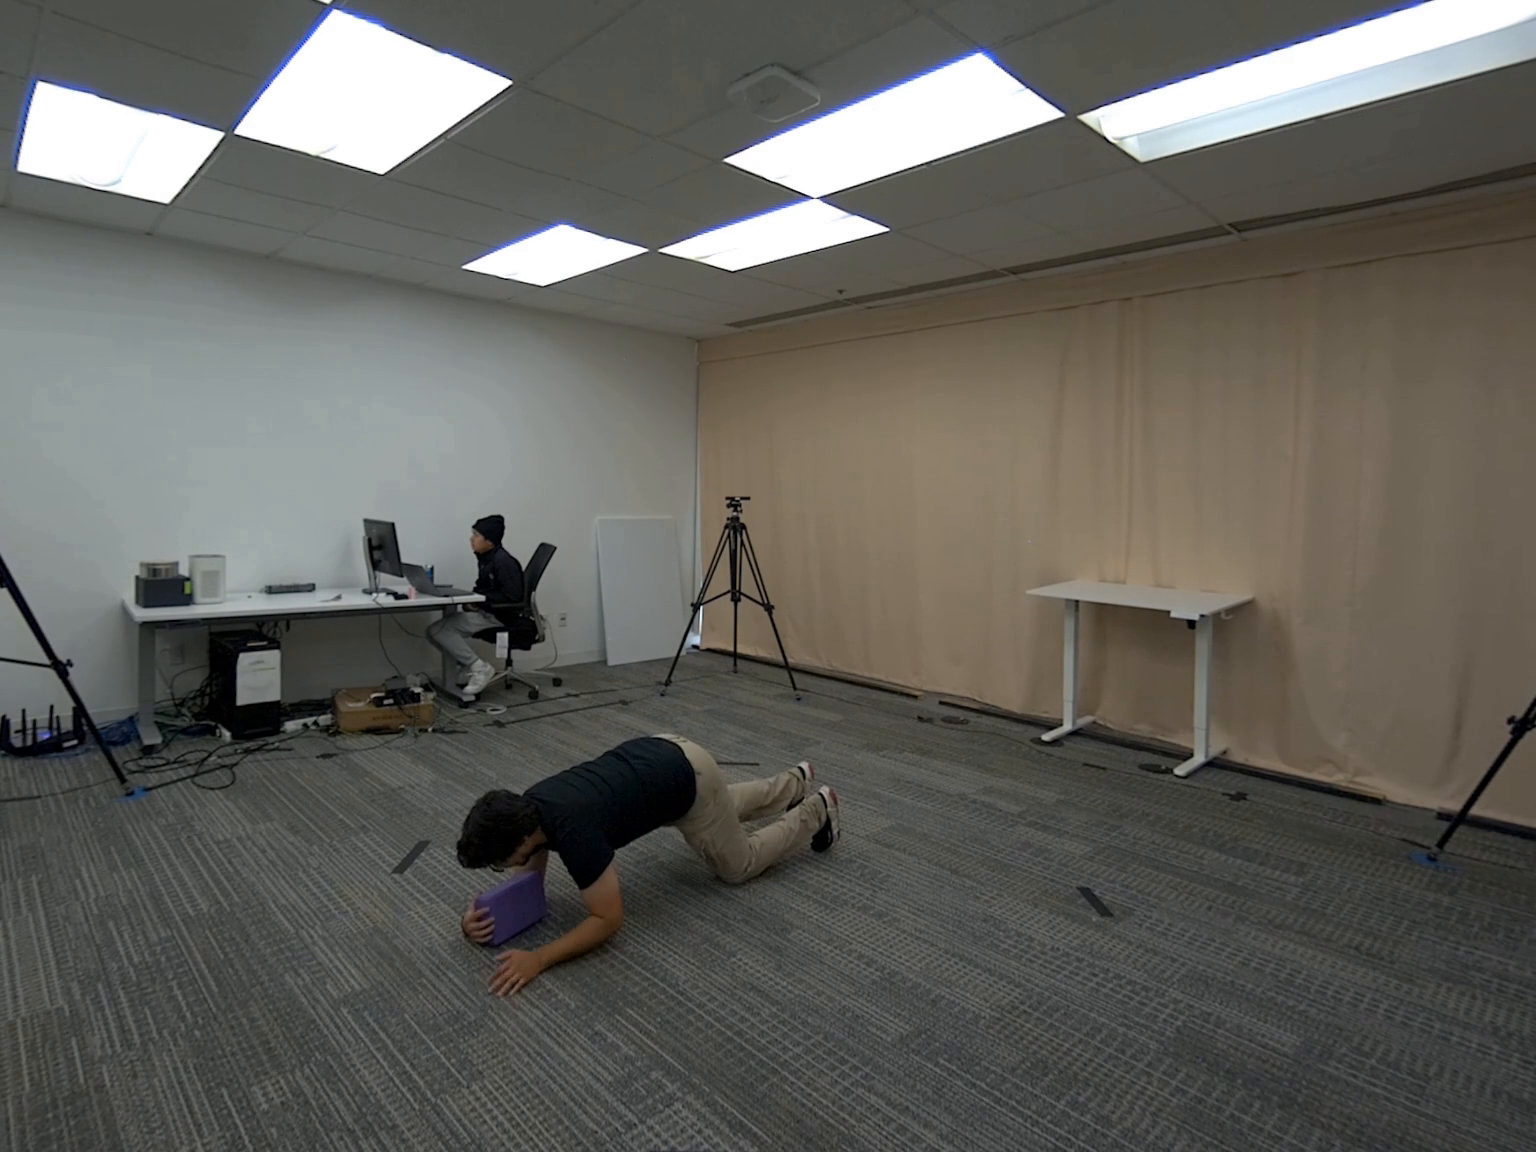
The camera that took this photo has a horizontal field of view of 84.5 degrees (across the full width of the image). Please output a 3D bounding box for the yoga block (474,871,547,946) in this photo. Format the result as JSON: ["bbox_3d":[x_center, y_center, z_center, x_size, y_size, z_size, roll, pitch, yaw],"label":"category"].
[{"bbox_3d":[-0.824,1.053,2.679,0.078,0.149,0.225,-4,1,30],"label":"yoga block"}]
